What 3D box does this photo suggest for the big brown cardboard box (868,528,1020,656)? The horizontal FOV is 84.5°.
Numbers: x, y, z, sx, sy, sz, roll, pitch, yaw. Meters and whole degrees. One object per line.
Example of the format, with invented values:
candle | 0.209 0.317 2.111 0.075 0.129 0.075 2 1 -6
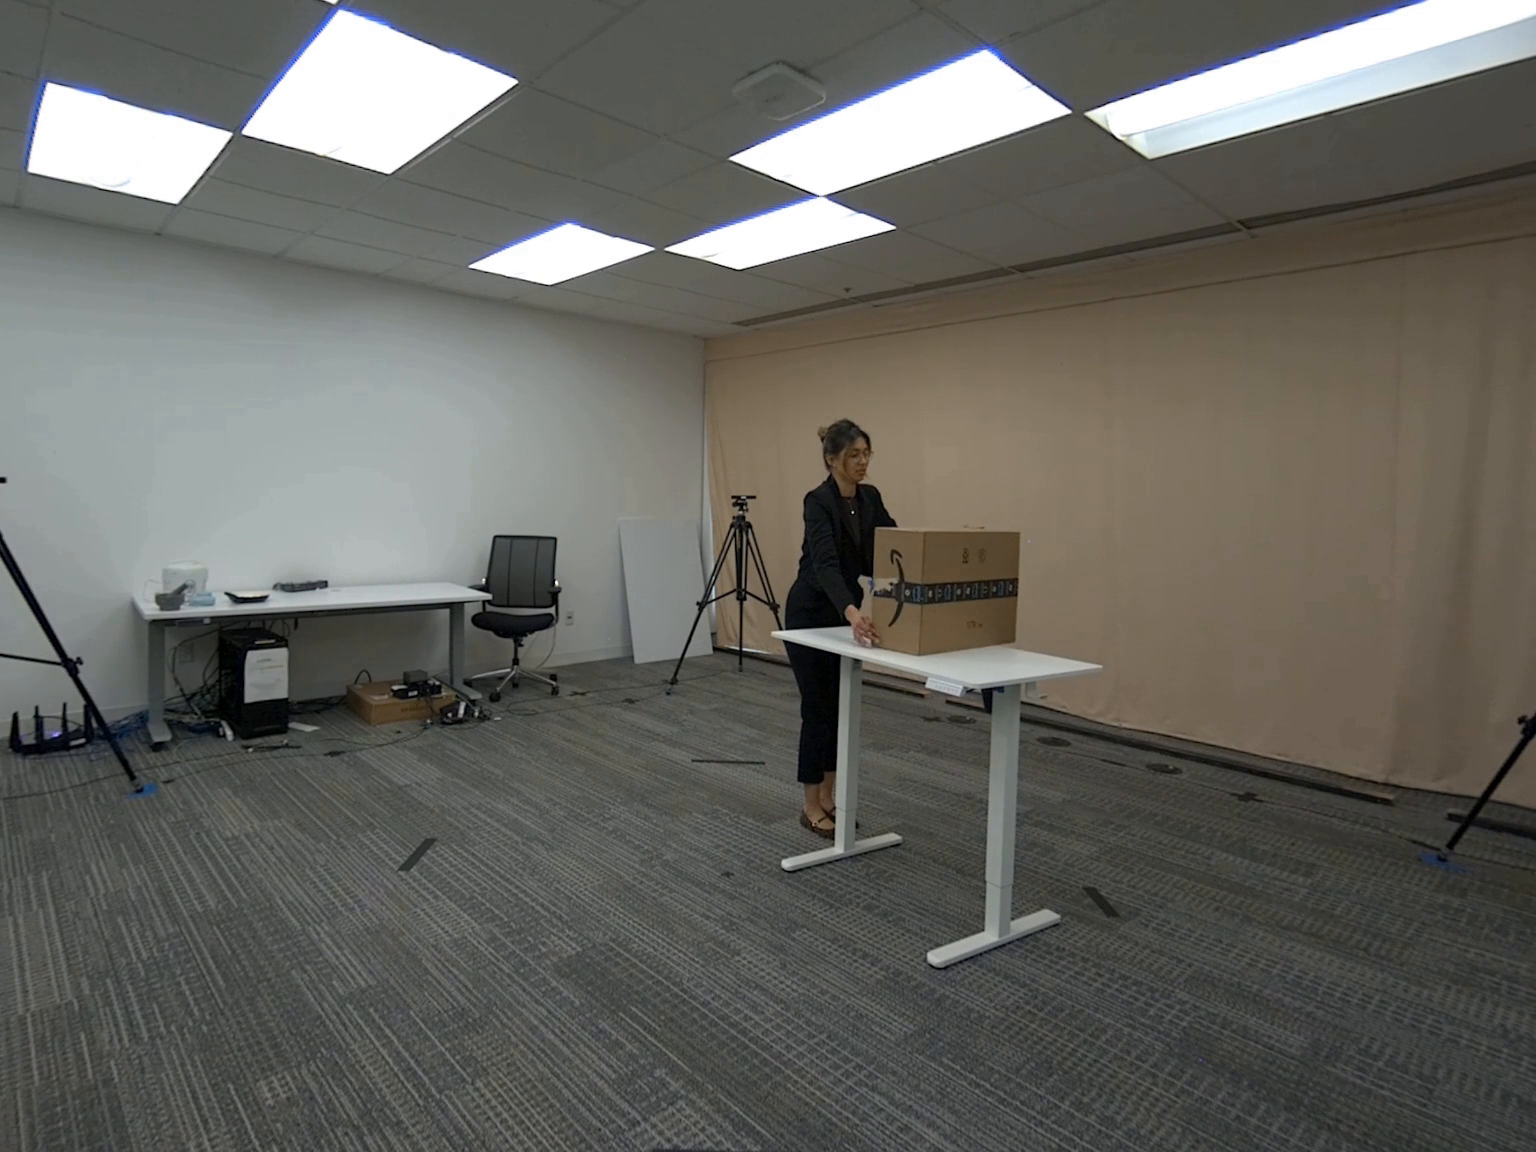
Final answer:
big brown cardboard box | 0.631 0.033 3.030 0.575 0.417 0.239 -1 4 -40
